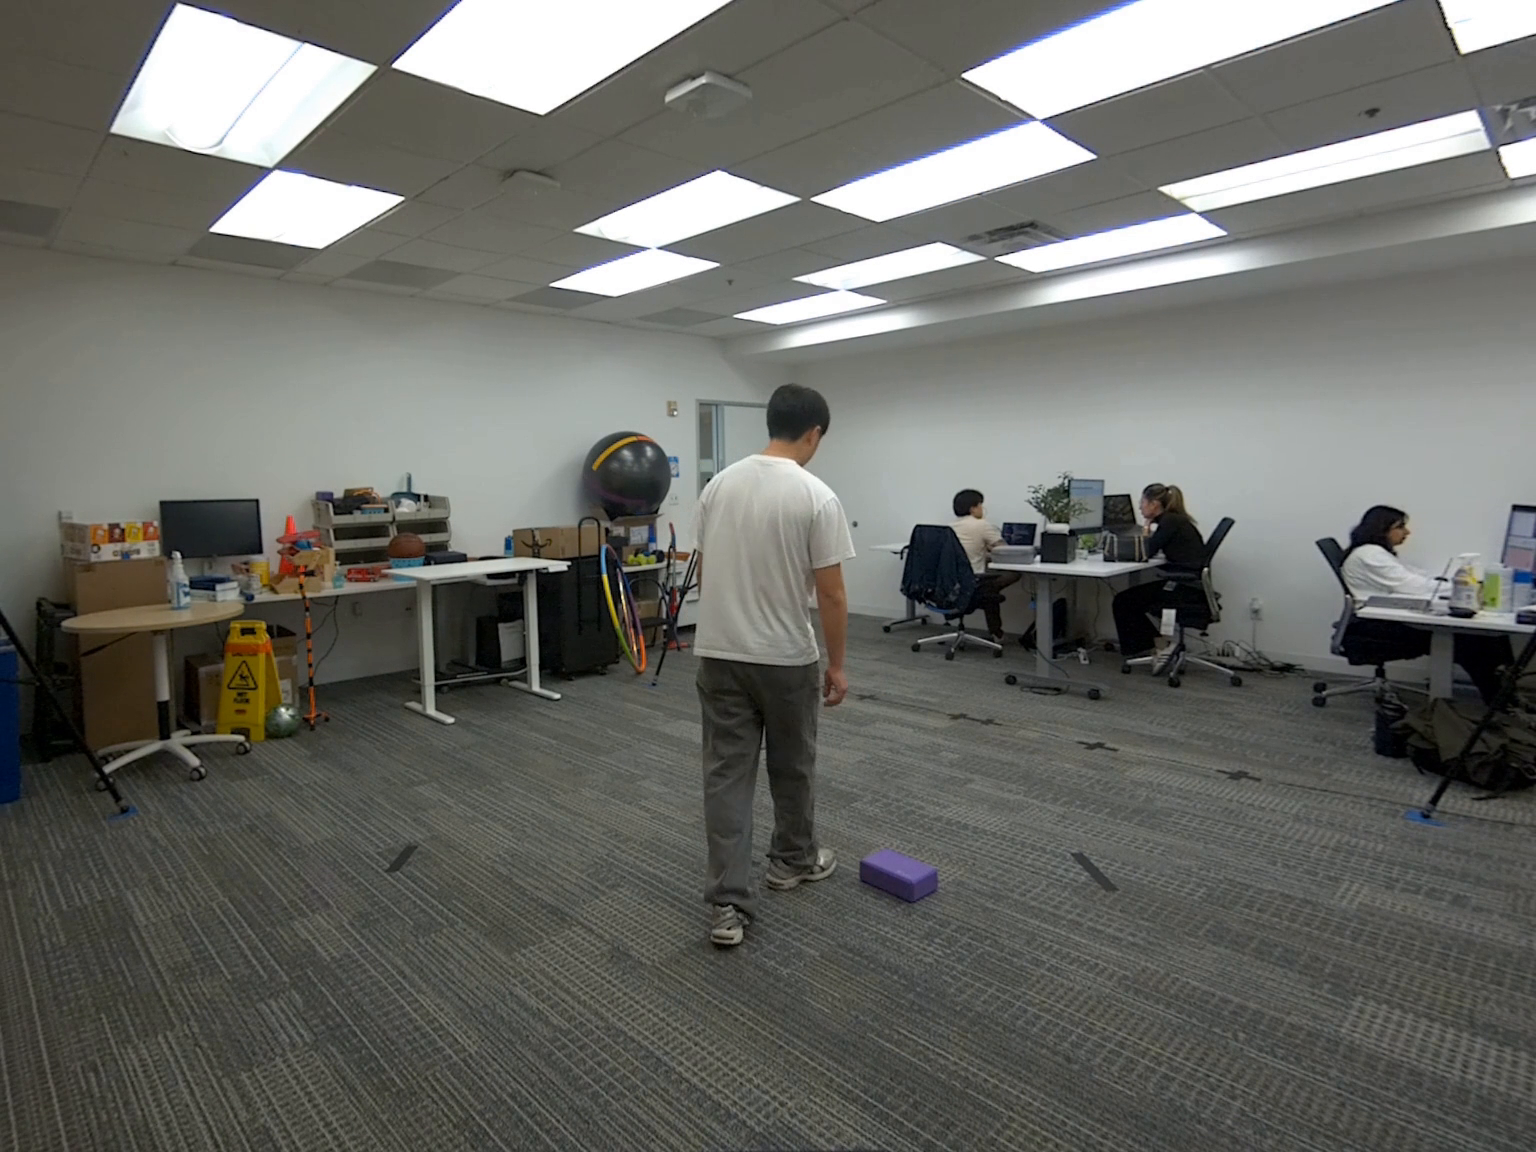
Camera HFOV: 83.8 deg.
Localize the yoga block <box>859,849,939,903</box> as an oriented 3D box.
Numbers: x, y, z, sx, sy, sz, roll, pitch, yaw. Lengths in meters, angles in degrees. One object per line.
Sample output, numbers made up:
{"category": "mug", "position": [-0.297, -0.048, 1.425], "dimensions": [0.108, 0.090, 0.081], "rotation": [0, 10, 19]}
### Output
{"category": "yoga block", "position": [0.445, 1.015, 2.914], "dimensions": [0.145, 0.076, 0.236], "rotation": [-6, 8, -42]}
